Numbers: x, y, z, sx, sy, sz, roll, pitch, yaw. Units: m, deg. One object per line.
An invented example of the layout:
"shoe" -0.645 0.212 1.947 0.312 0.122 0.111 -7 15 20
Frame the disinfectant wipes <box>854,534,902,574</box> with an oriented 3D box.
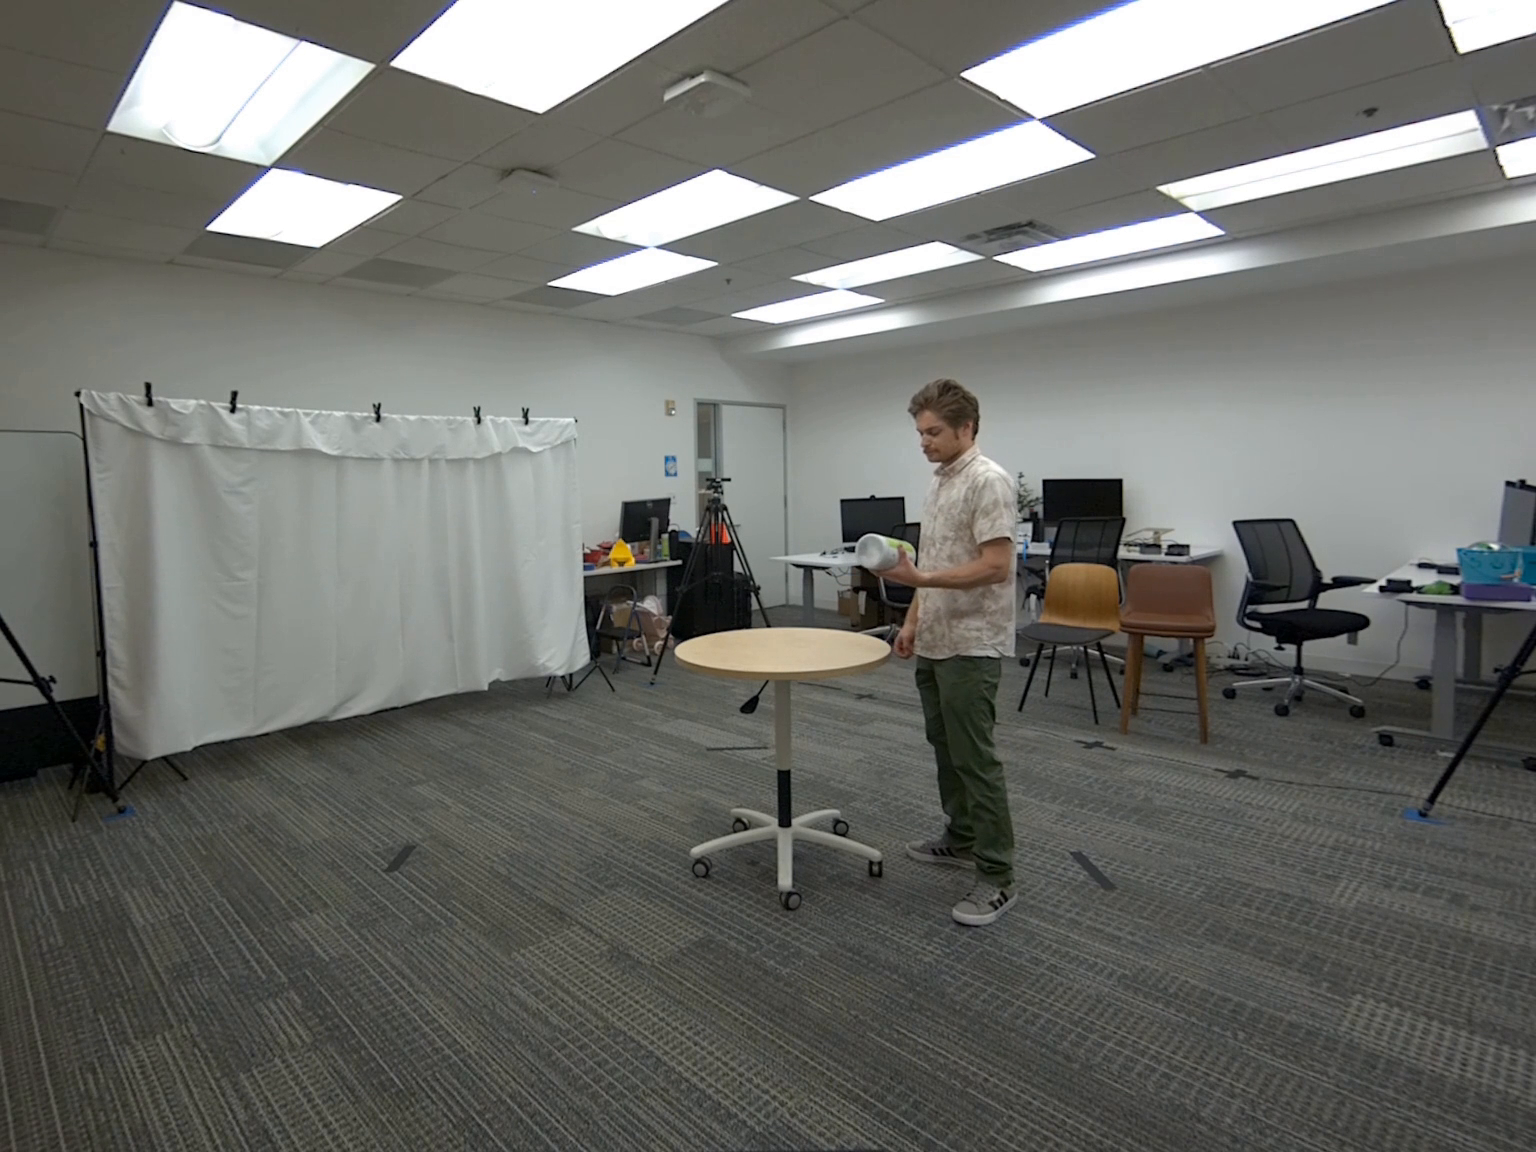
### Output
"disinfectant wipes" 0.383 -0.070 2.728 0.121 0.118 0.210 3 -3 38
